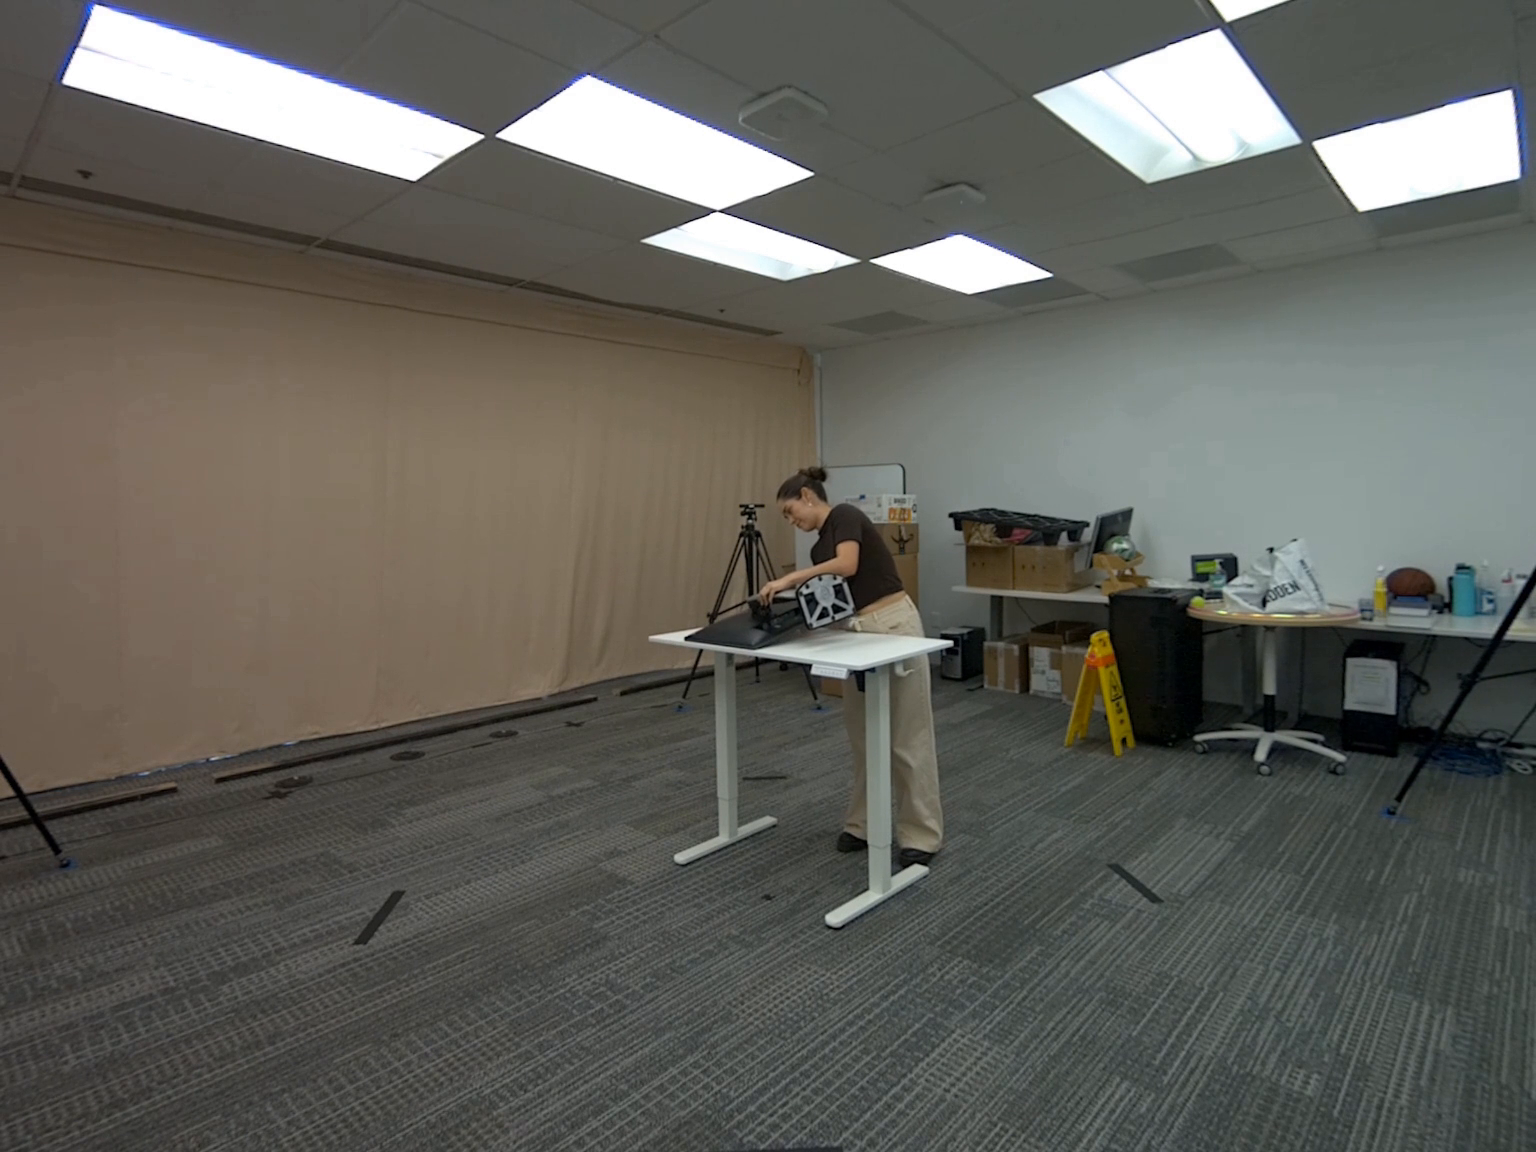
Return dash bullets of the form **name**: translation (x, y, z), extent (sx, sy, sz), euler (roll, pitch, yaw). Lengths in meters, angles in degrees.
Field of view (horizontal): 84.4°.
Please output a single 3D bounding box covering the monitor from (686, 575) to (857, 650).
- **monitor**: translation (0.042, 0.139, 3.182), extent (0.524, 0.188, 0.535), euler (-14, -3, -43)
